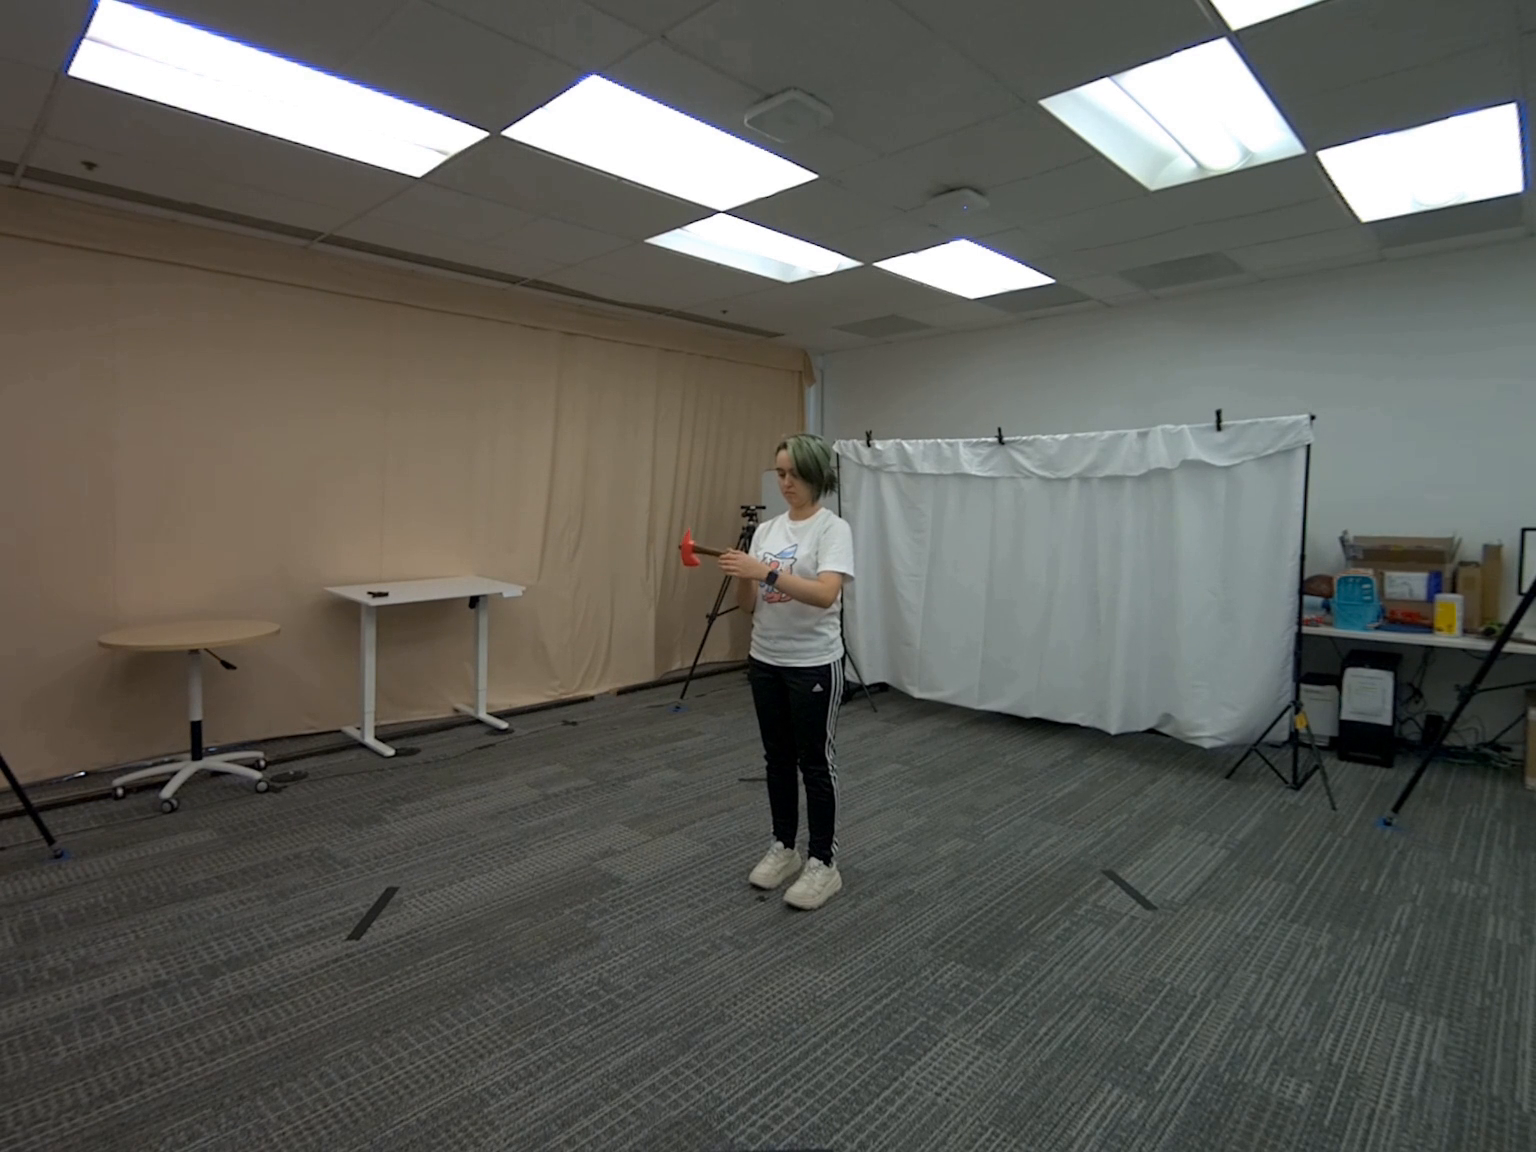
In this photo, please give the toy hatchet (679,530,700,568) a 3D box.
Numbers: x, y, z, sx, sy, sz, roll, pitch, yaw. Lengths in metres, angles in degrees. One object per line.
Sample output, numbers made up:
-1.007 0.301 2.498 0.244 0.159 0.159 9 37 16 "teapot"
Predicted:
-0.186 -0.048 2.895 0.274 0.130 0.029 29 23 10 "toy hatchet"
